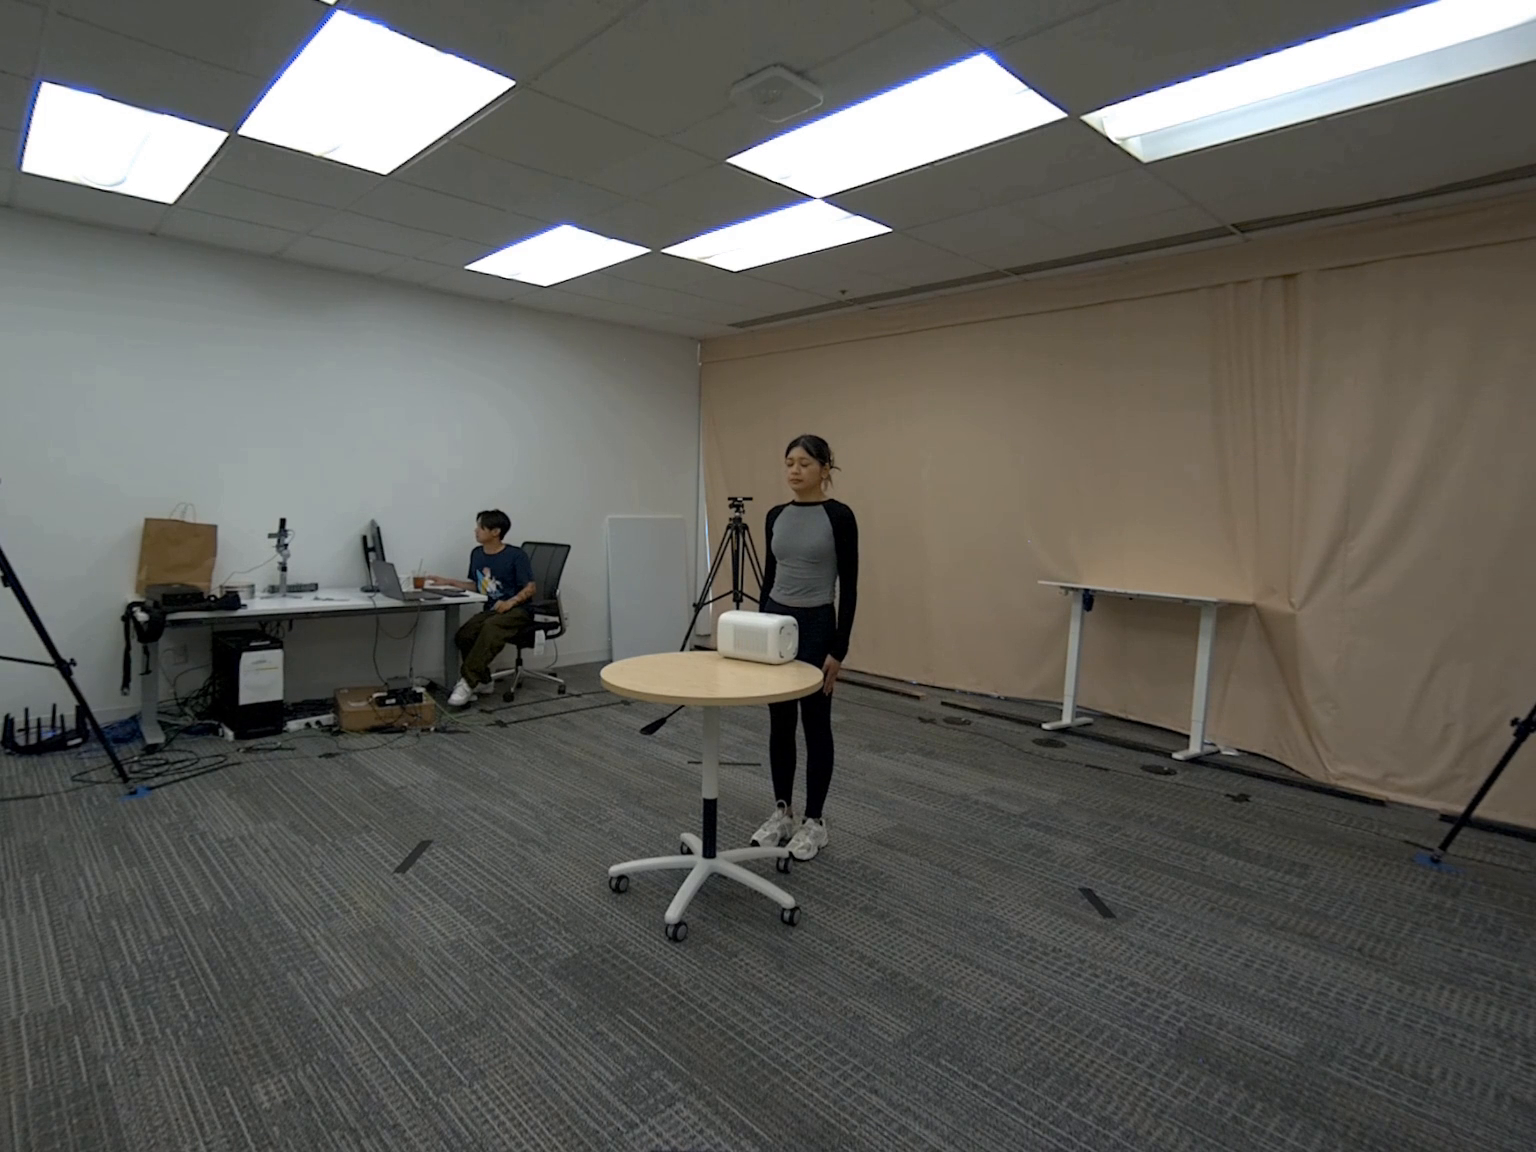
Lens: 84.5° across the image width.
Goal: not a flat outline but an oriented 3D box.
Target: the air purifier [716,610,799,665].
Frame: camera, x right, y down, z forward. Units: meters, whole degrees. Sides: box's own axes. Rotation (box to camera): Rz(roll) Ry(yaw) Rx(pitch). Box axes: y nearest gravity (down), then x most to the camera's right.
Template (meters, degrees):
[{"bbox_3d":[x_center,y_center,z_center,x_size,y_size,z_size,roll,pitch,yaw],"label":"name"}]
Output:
[{"bbox_3d":[-0.041,0.225,3.124,0.272,0.171,0.167,4,4,34],"label":"air purifier"}]
